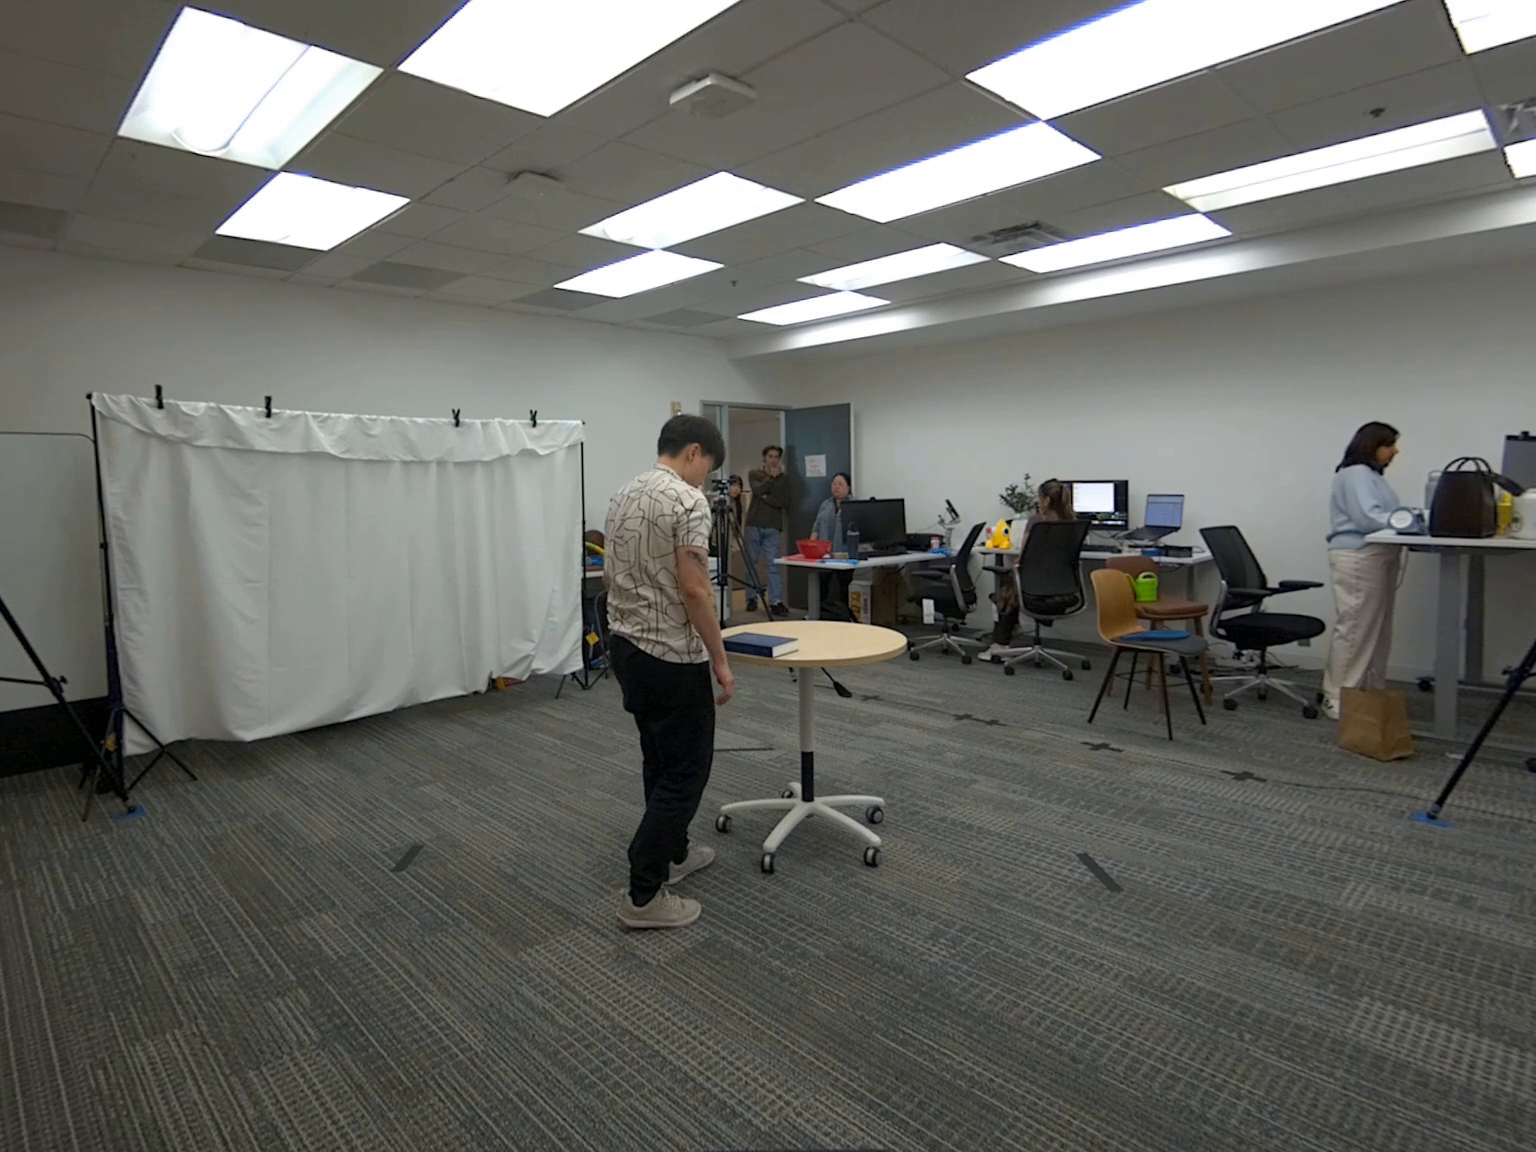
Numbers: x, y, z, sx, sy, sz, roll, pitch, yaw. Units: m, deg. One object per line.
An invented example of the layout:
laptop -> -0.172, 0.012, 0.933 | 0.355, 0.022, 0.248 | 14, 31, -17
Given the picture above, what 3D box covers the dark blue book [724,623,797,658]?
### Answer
dark blue book -> -0.029, 0.249, 3.091 | 0.252, 0.045, 0.159 | 4, 9, 37
